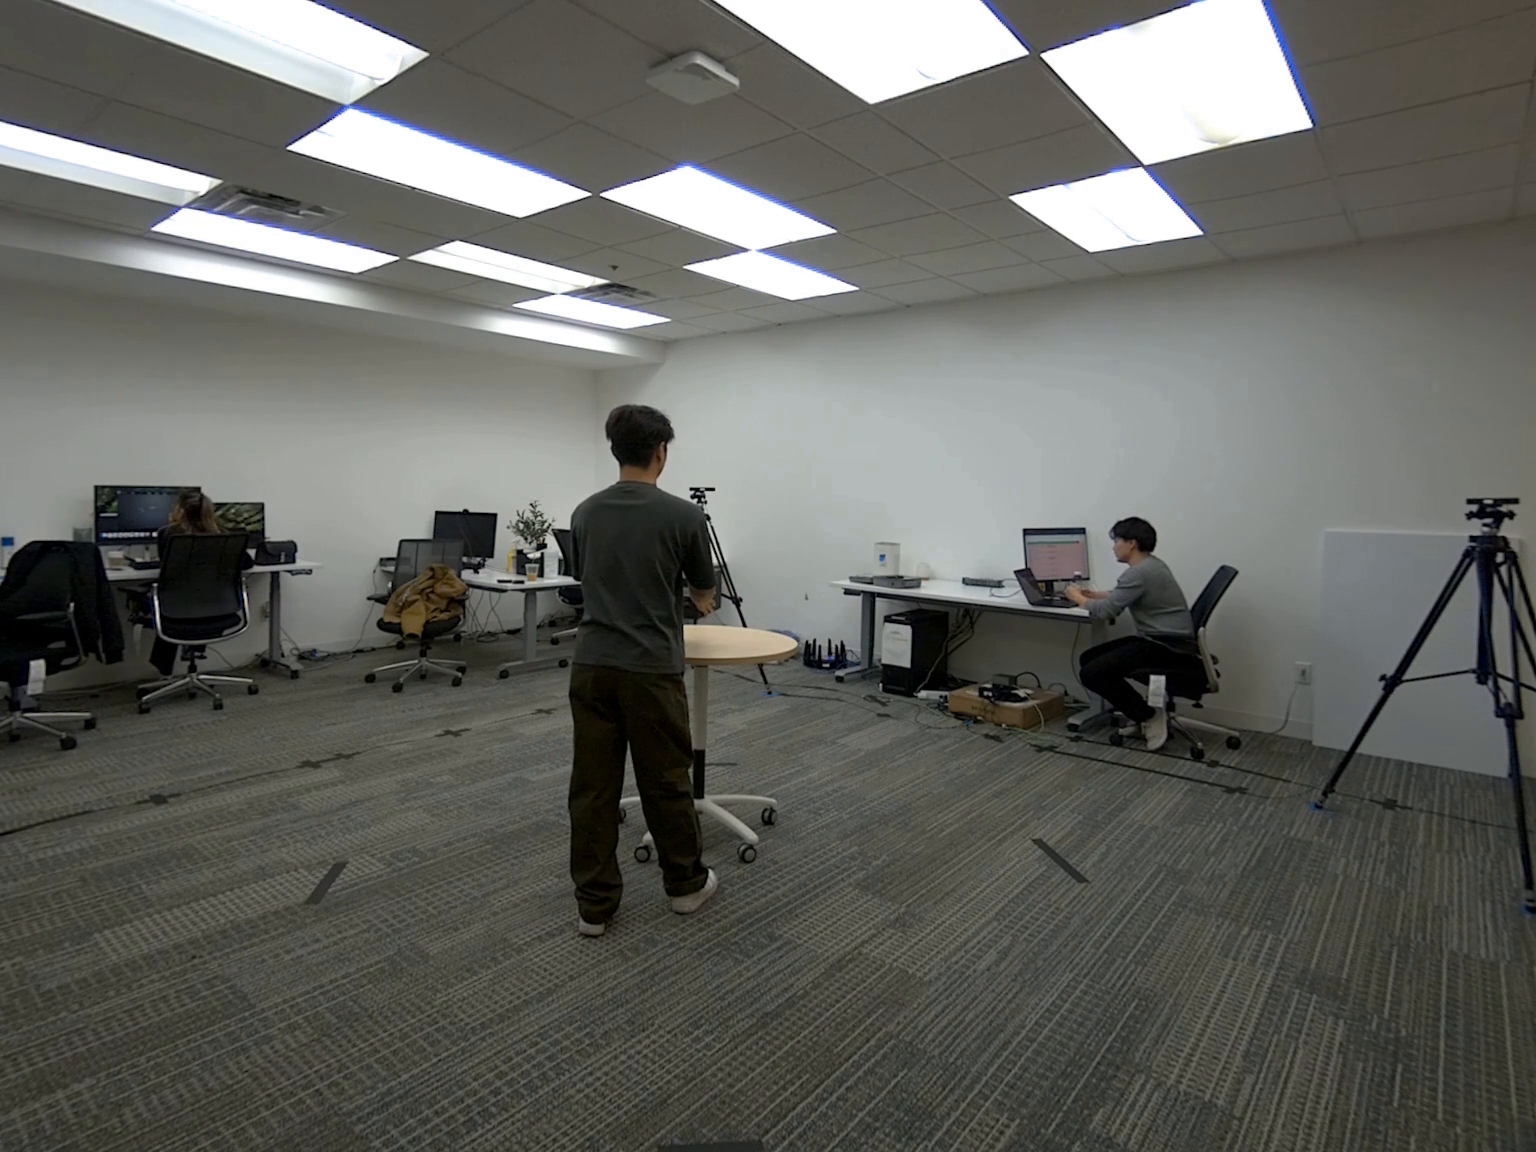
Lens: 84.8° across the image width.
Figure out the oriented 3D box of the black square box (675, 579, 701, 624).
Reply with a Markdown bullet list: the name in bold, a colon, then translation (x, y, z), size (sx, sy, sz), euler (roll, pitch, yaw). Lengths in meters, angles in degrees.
- **black square box**: translation (-0.329, 0.054, 3.274), size (0.222, 0.154, 0.225), euler (3, 10, 21)
